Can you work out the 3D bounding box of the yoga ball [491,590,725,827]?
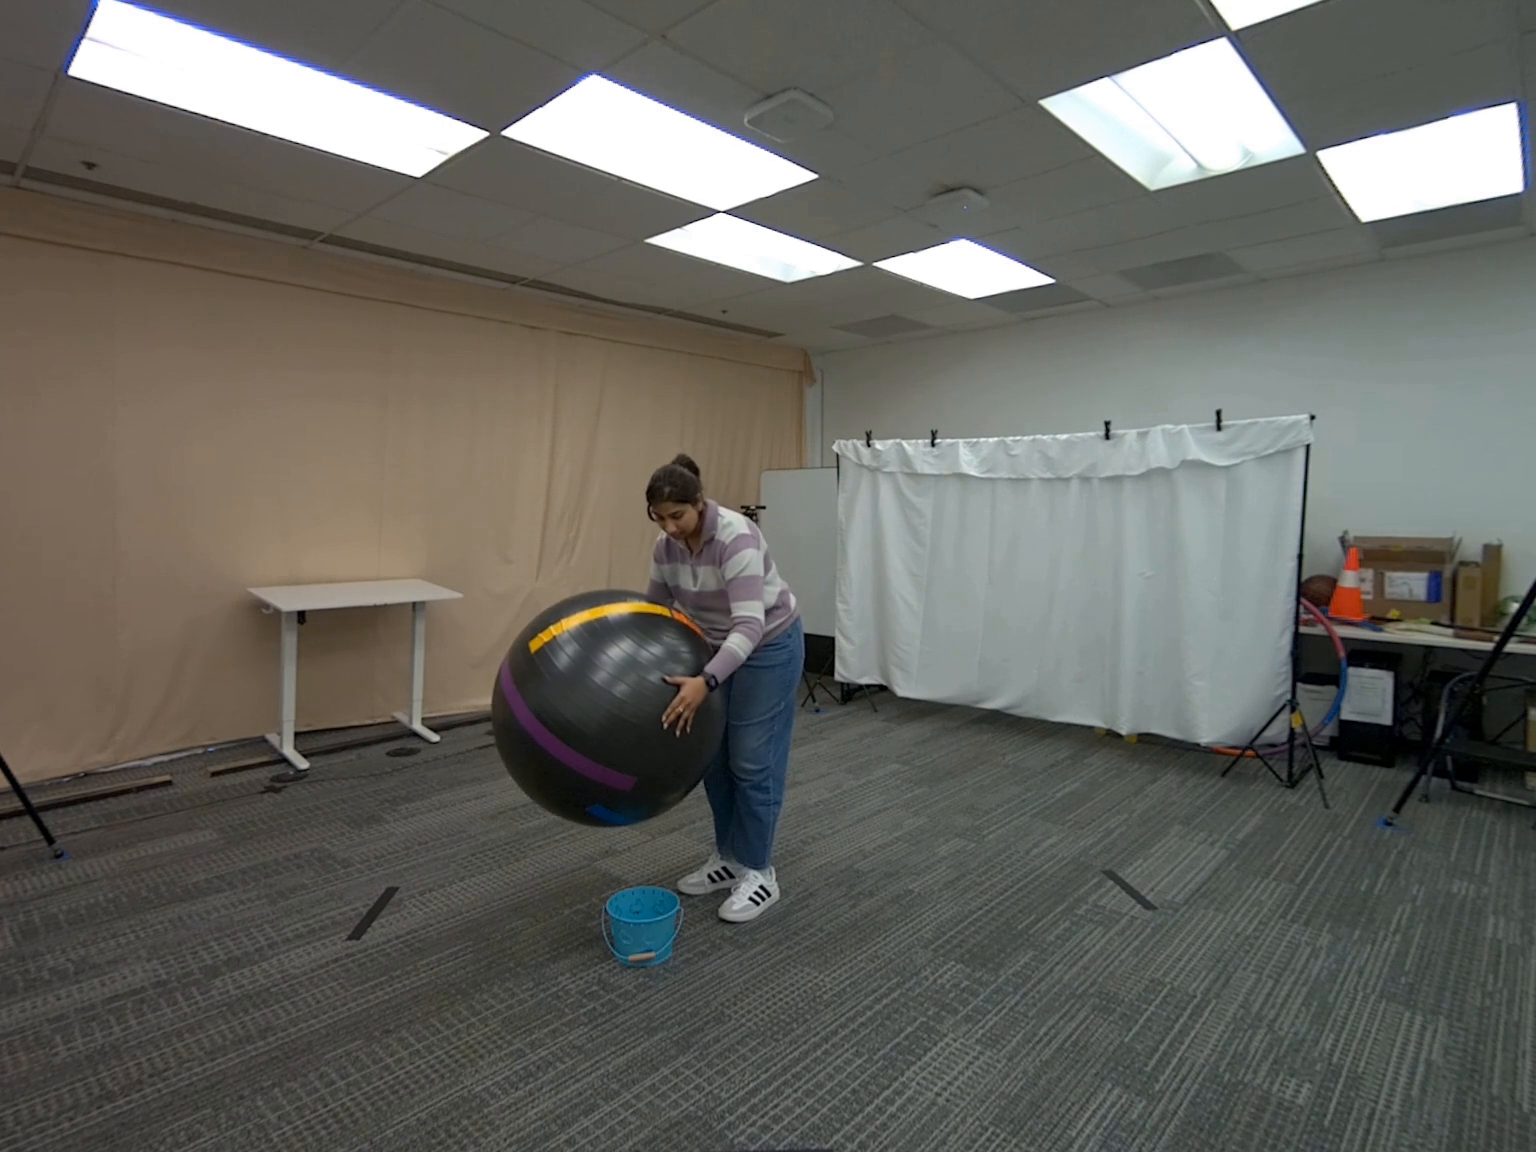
[{"bbox_3d":[-0.521,0.431,2.745,0.757,0.756,0.761,0,4,-2],"label":"yoga ball"}]
